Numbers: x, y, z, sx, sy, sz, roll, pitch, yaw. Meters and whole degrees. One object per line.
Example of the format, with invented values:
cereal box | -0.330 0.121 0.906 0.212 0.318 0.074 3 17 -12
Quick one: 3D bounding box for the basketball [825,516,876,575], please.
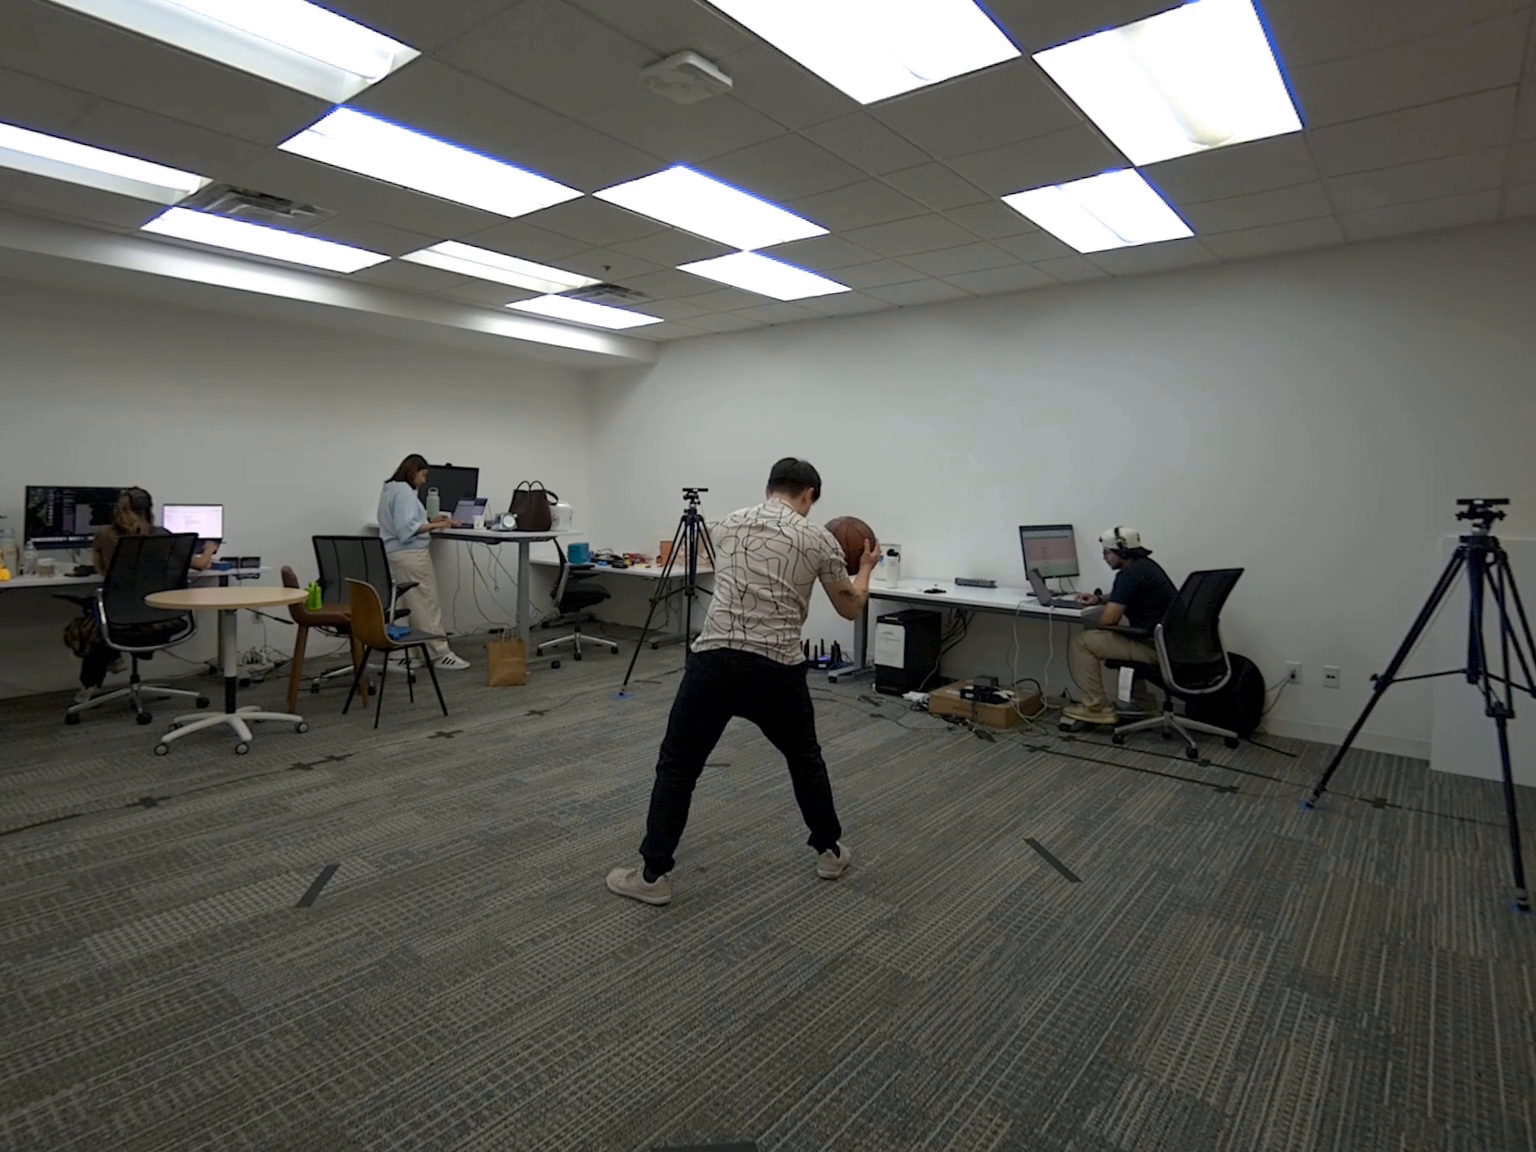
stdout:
basketball | 0.303 -0.108 3.373 0.235 0.235 0.237 1 4 -2
